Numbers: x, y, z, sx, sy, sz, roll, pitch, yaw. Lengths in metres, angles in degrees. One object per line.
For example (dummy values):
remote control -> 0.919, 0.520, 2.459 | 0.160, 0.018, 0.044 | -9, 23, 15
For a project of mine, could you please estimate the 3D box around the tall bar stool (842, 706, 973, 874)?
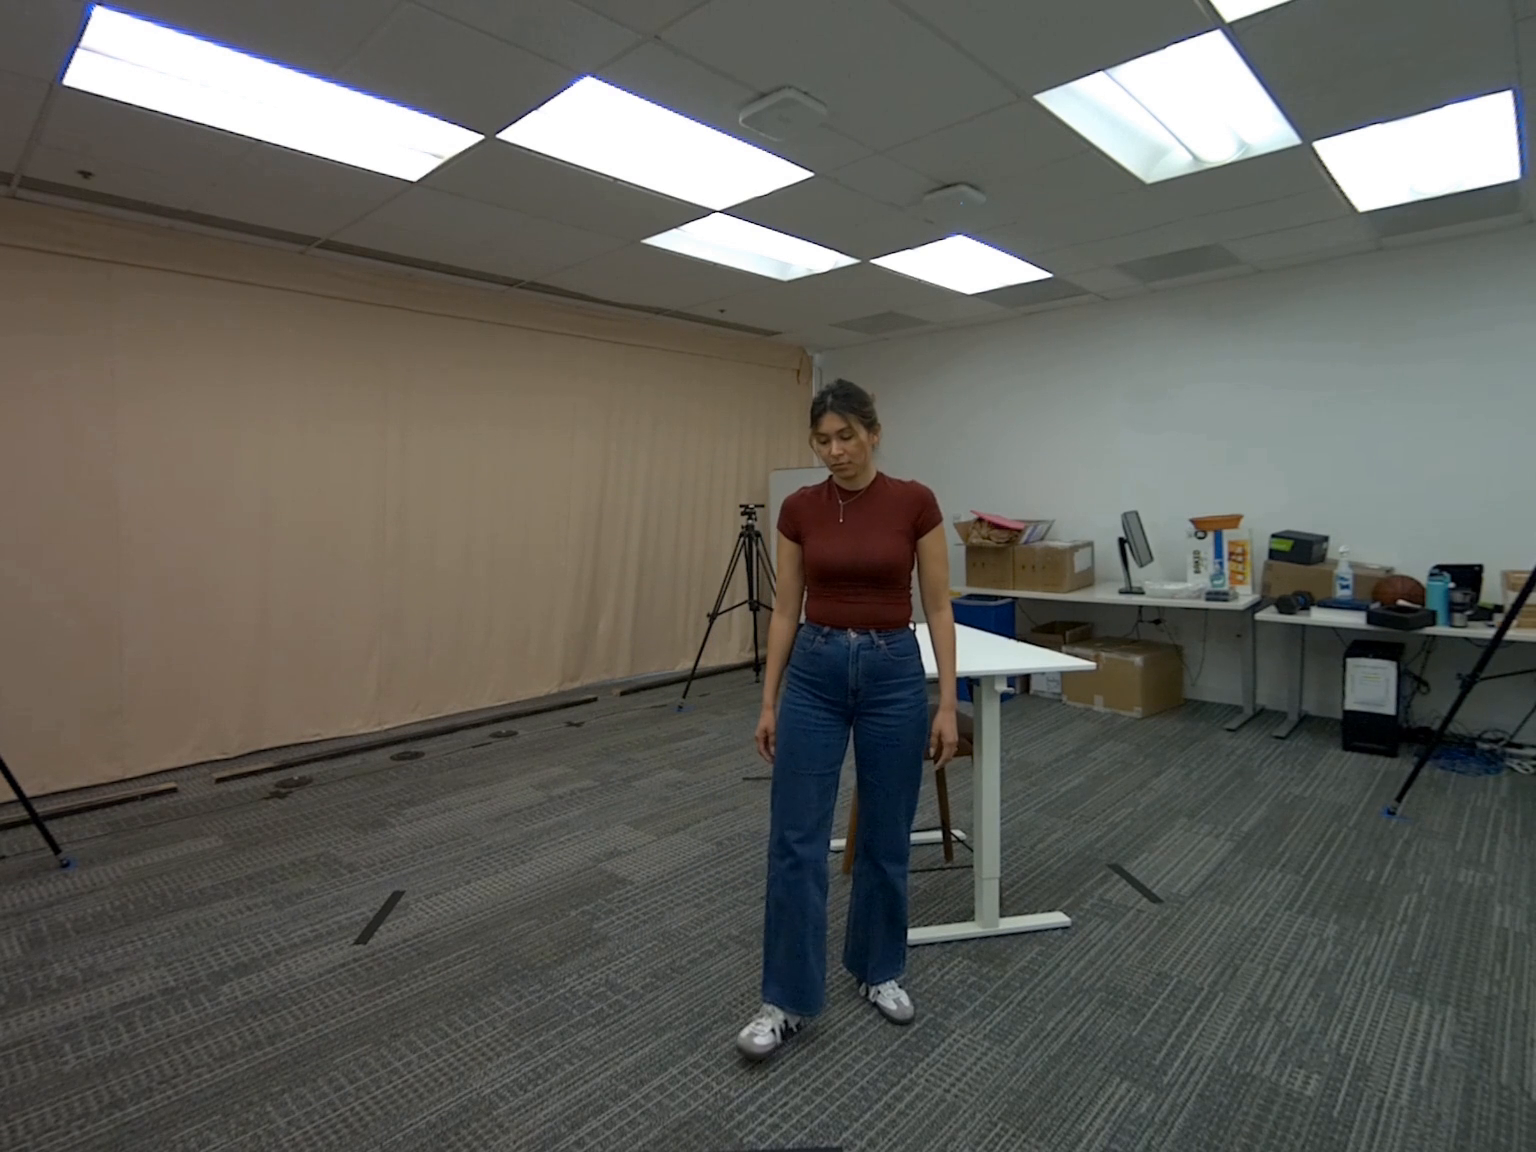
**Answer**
tall bar stool -> 0.536, 0.711, 3.000 | 0.463, 0.886, 0.463 | -2, 7, -11
